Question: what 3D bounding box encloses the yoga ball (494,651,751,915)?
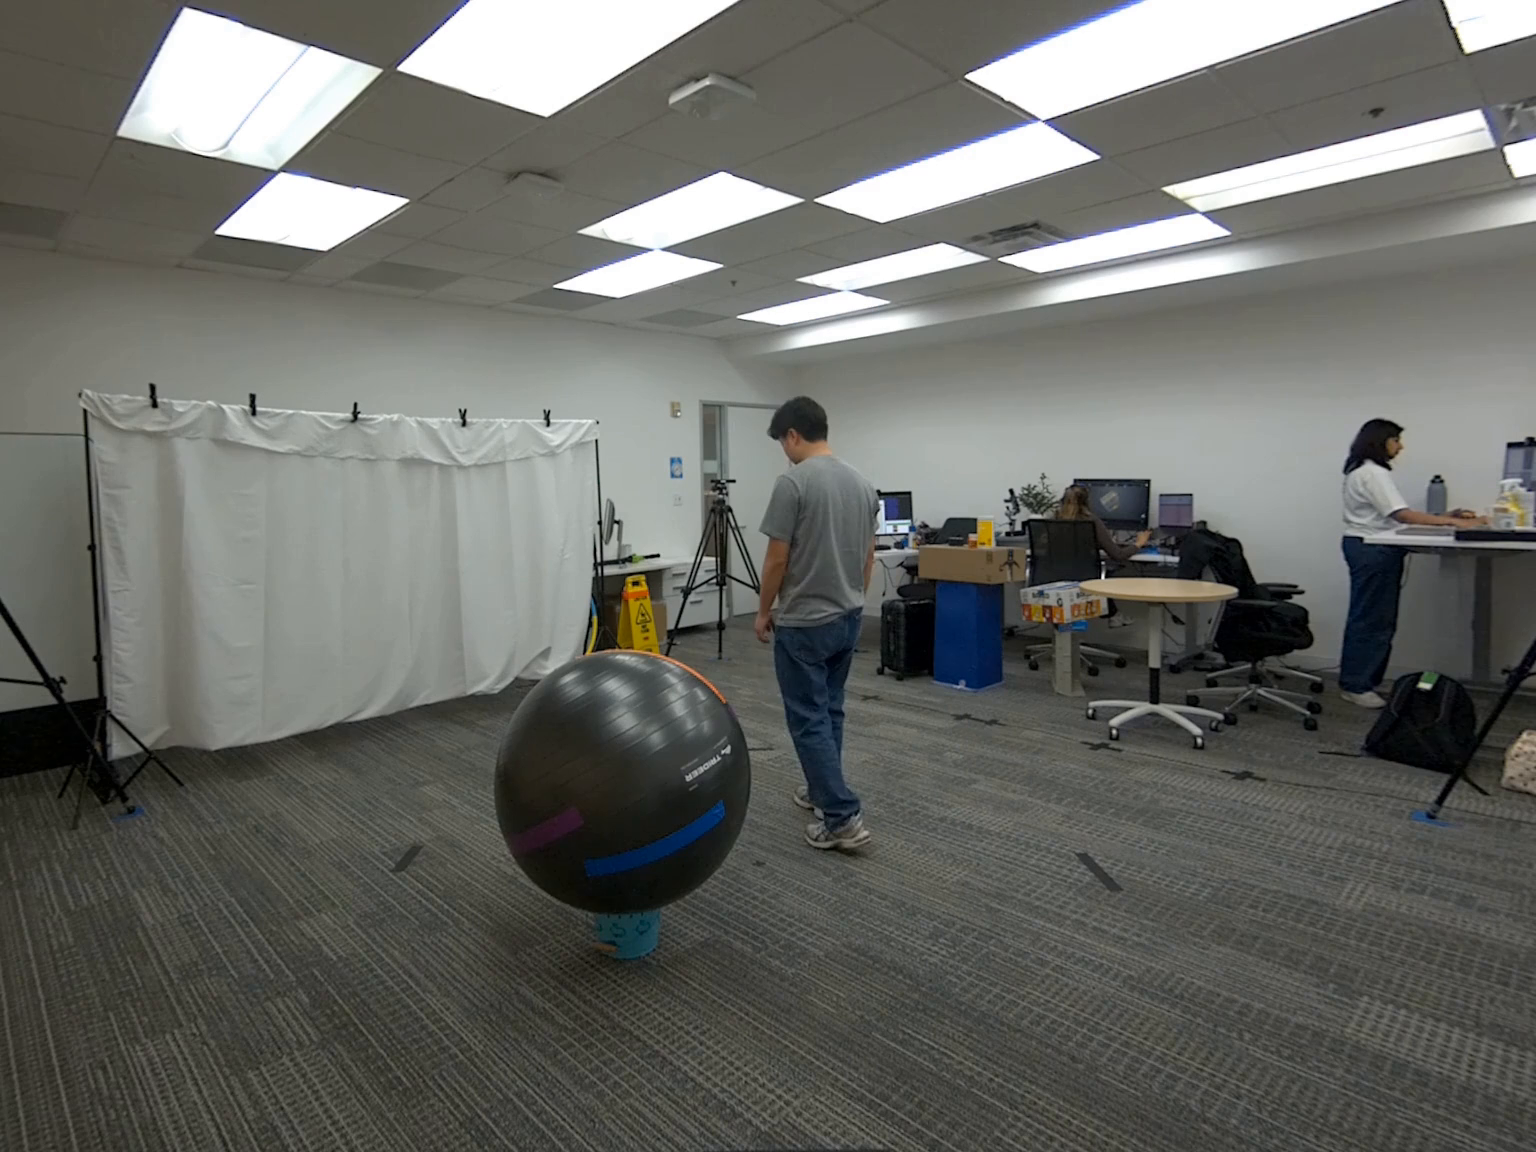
[{"bbox_3d":[-0.437,0.609,2.551,0.757,0.755,0.762,-1,5,-2],"label":"yoga ball"}]
